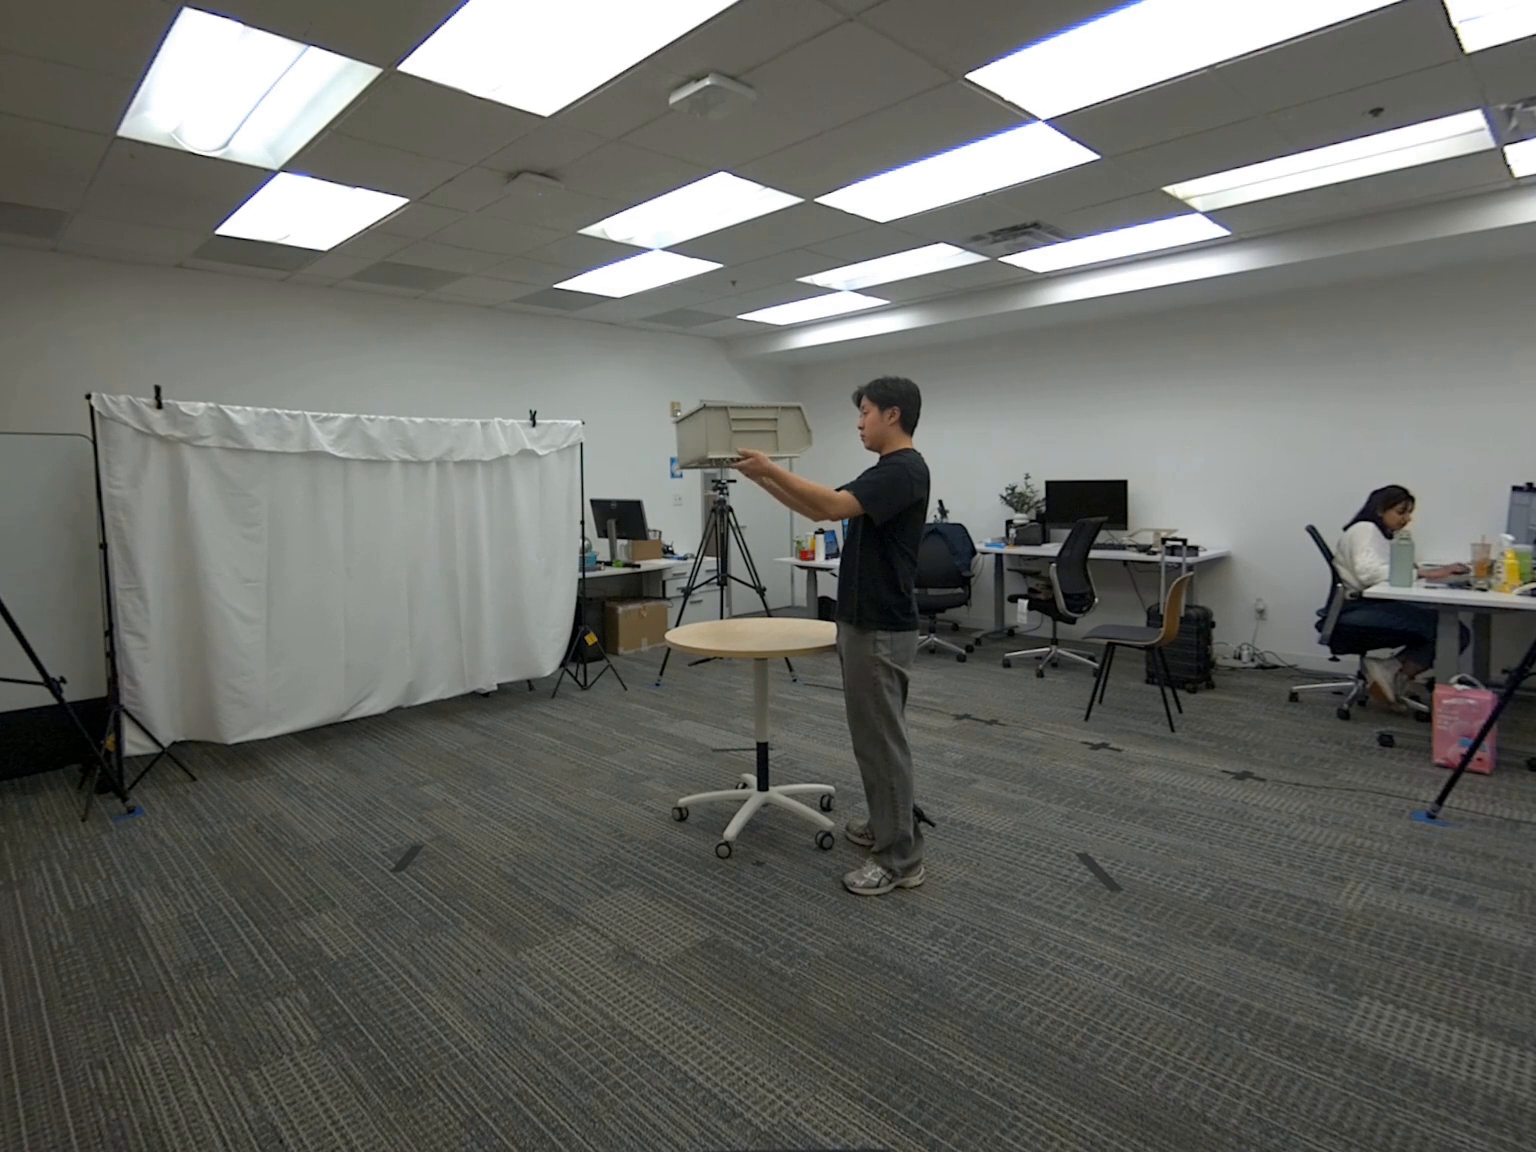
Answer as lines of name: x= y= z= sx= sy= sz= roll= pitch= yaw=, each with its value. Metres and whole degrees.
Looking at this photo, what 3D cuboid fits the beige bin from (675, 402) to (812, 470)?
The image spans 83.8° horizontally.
beige bin: x=-0.092 y=-0.481 z=2.983 sx=0.371 sy=0.189 sz=0.429 roll=-4 pitch=3 yaw=-18
